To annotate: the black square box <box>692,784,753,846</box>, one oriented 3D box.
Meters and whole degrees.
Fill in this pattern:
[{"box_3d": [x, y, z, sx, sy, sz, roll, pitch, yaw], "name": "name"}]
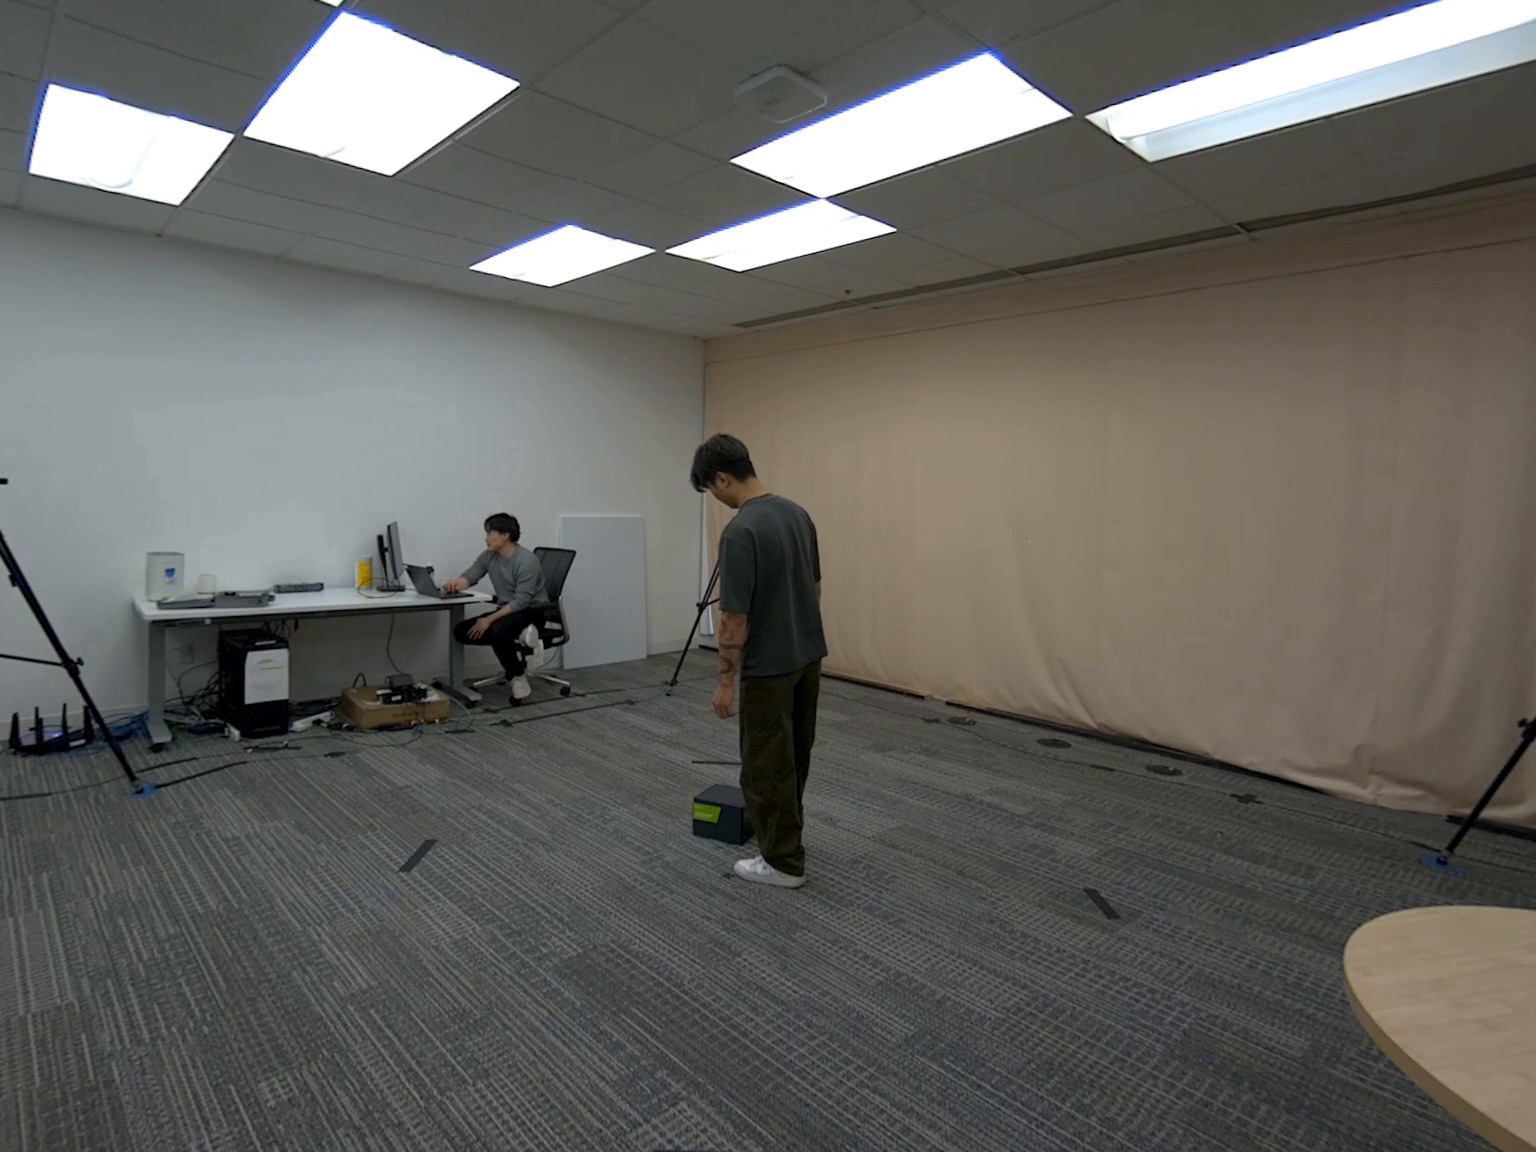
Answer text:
[{"box_3d": [-0.178, 0.985, 3.520, 0.232, 0.155, 0.213, 3, 4, 23], "name": "black square box"}]
